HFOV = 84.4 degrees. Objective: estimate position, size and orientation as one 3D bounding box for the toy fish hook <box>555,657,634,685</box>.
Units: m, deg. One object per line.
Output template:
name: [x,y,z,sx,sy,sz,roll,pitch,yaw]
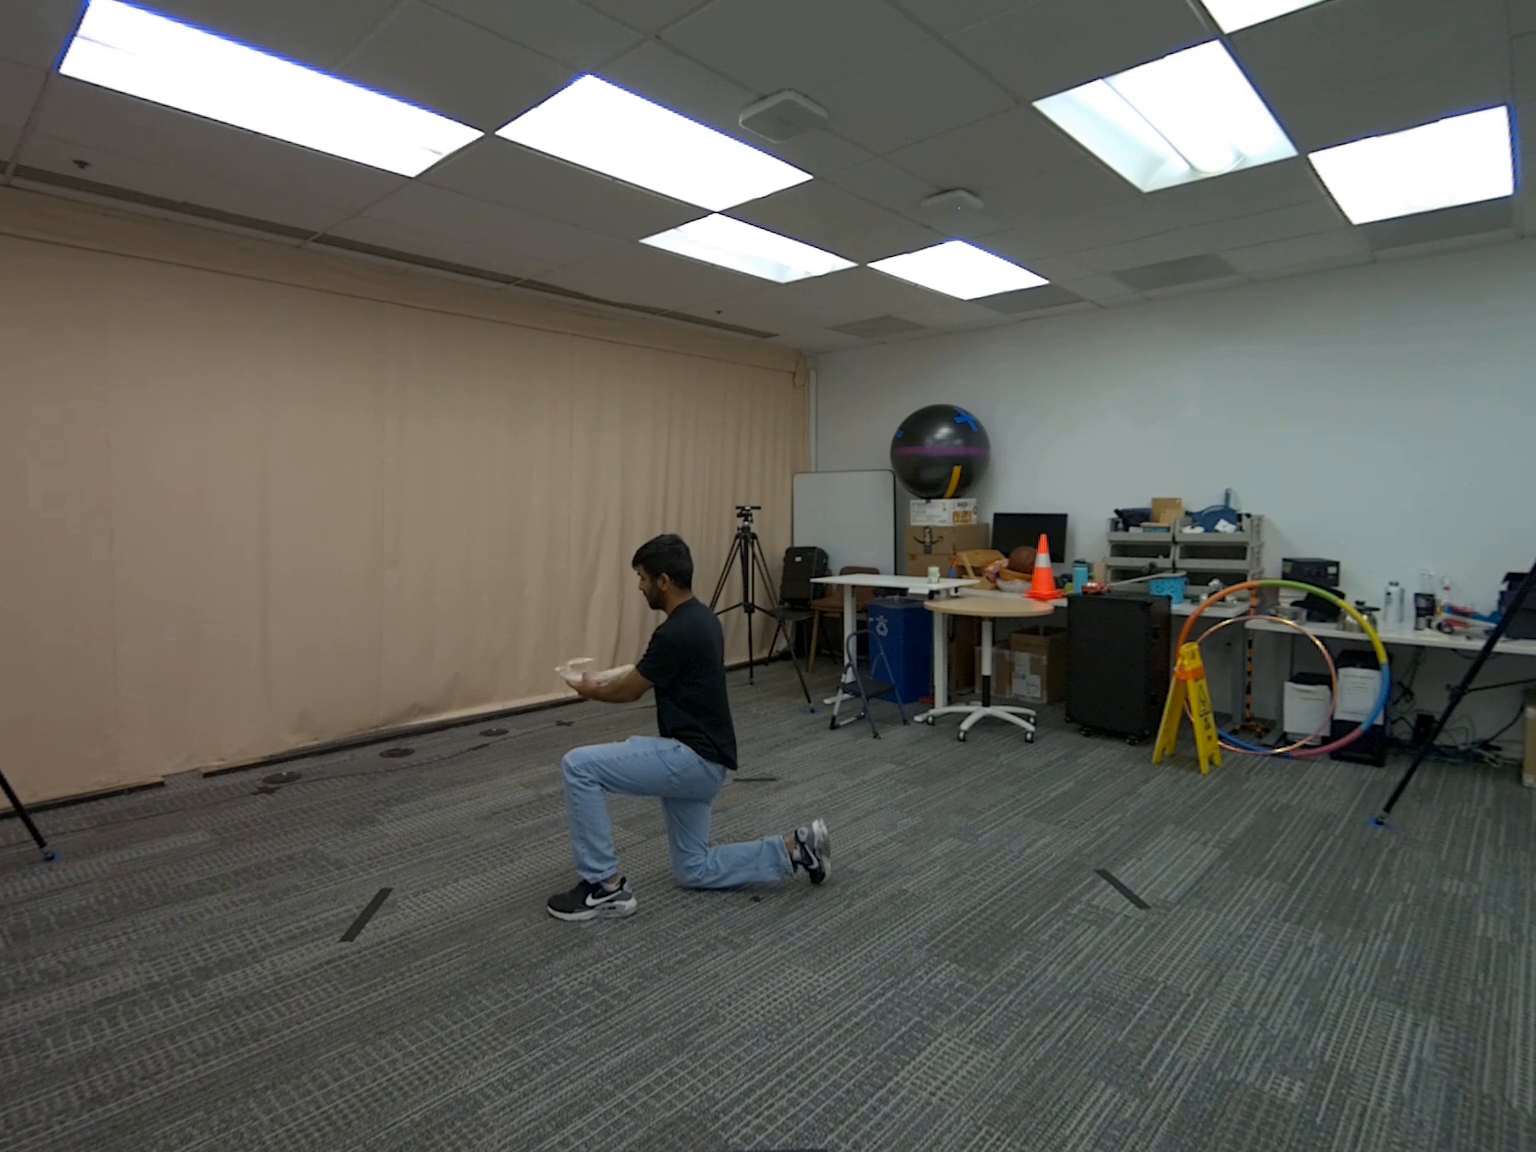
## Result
toy fish hook: [-0.621,0.364,3.423,0.491,0.048,0.233,-4,23,-41]
